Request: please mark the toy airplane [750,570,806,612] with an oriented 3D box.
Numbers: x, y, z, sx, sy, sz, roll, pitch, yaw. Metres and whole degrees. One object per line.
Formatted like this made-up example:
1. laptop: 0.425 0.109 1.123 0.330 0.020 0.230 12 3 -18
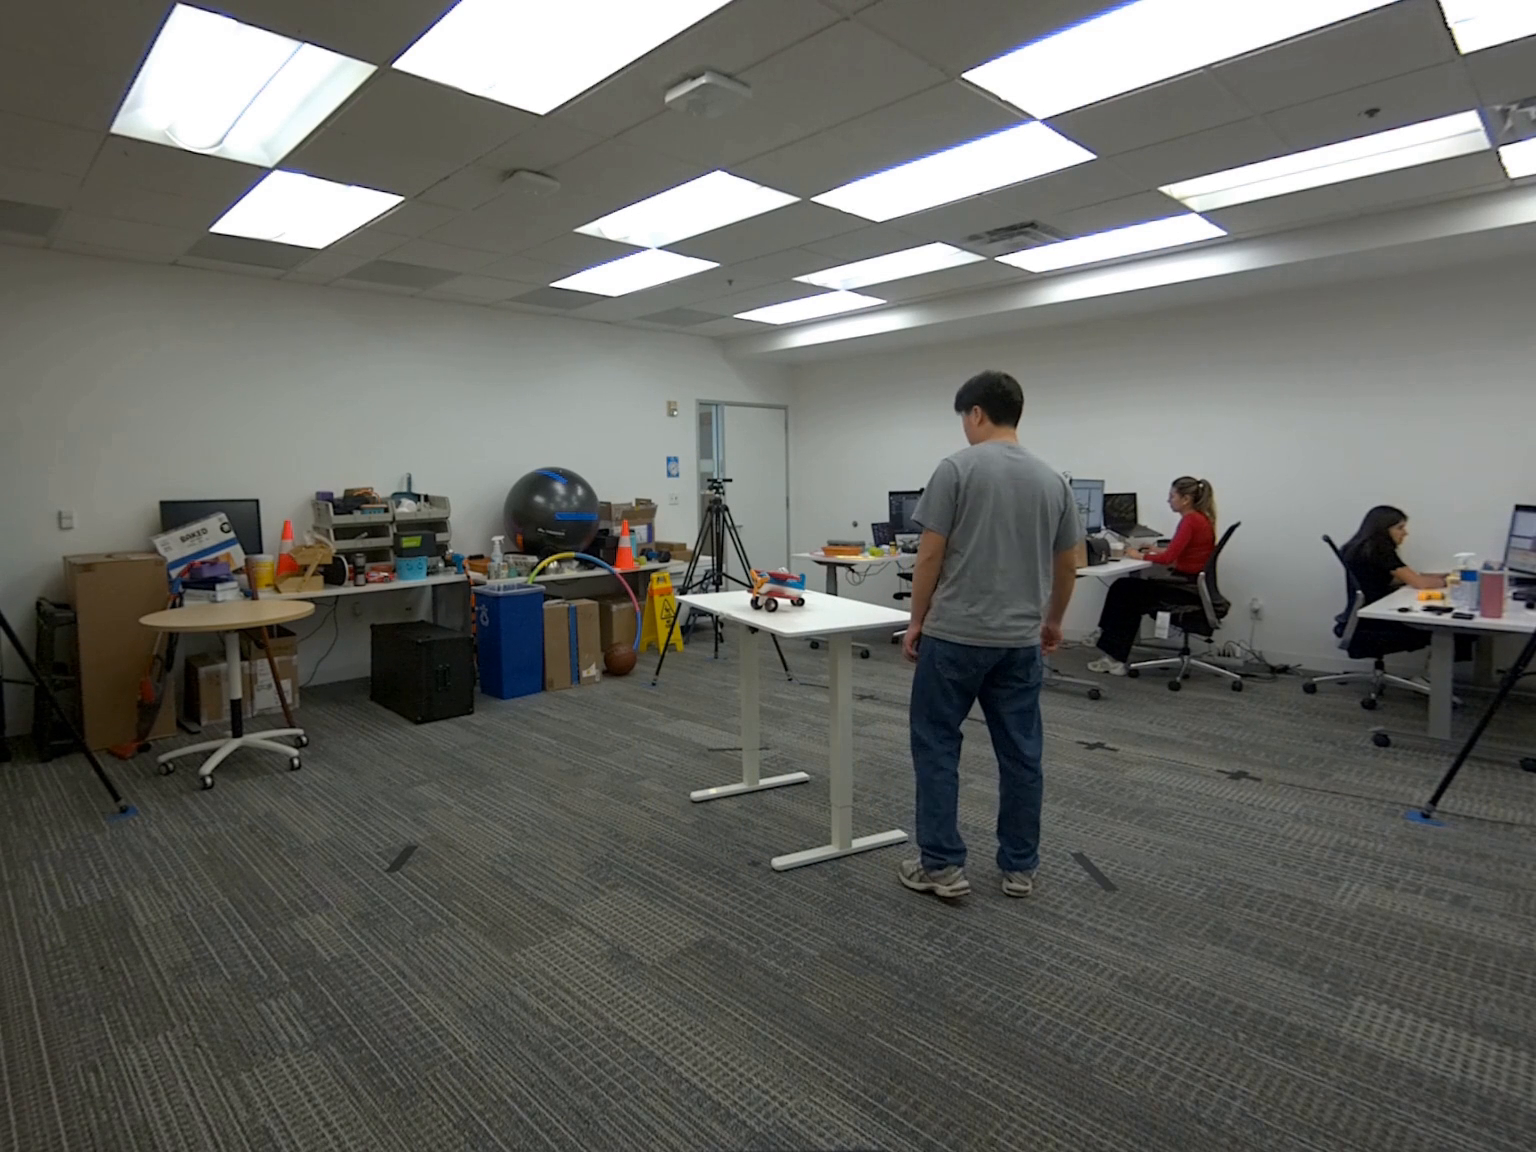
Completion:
1. toy airplane: 0.039 0.050 3.398 0.257 0.155 0.255 3 8 23
